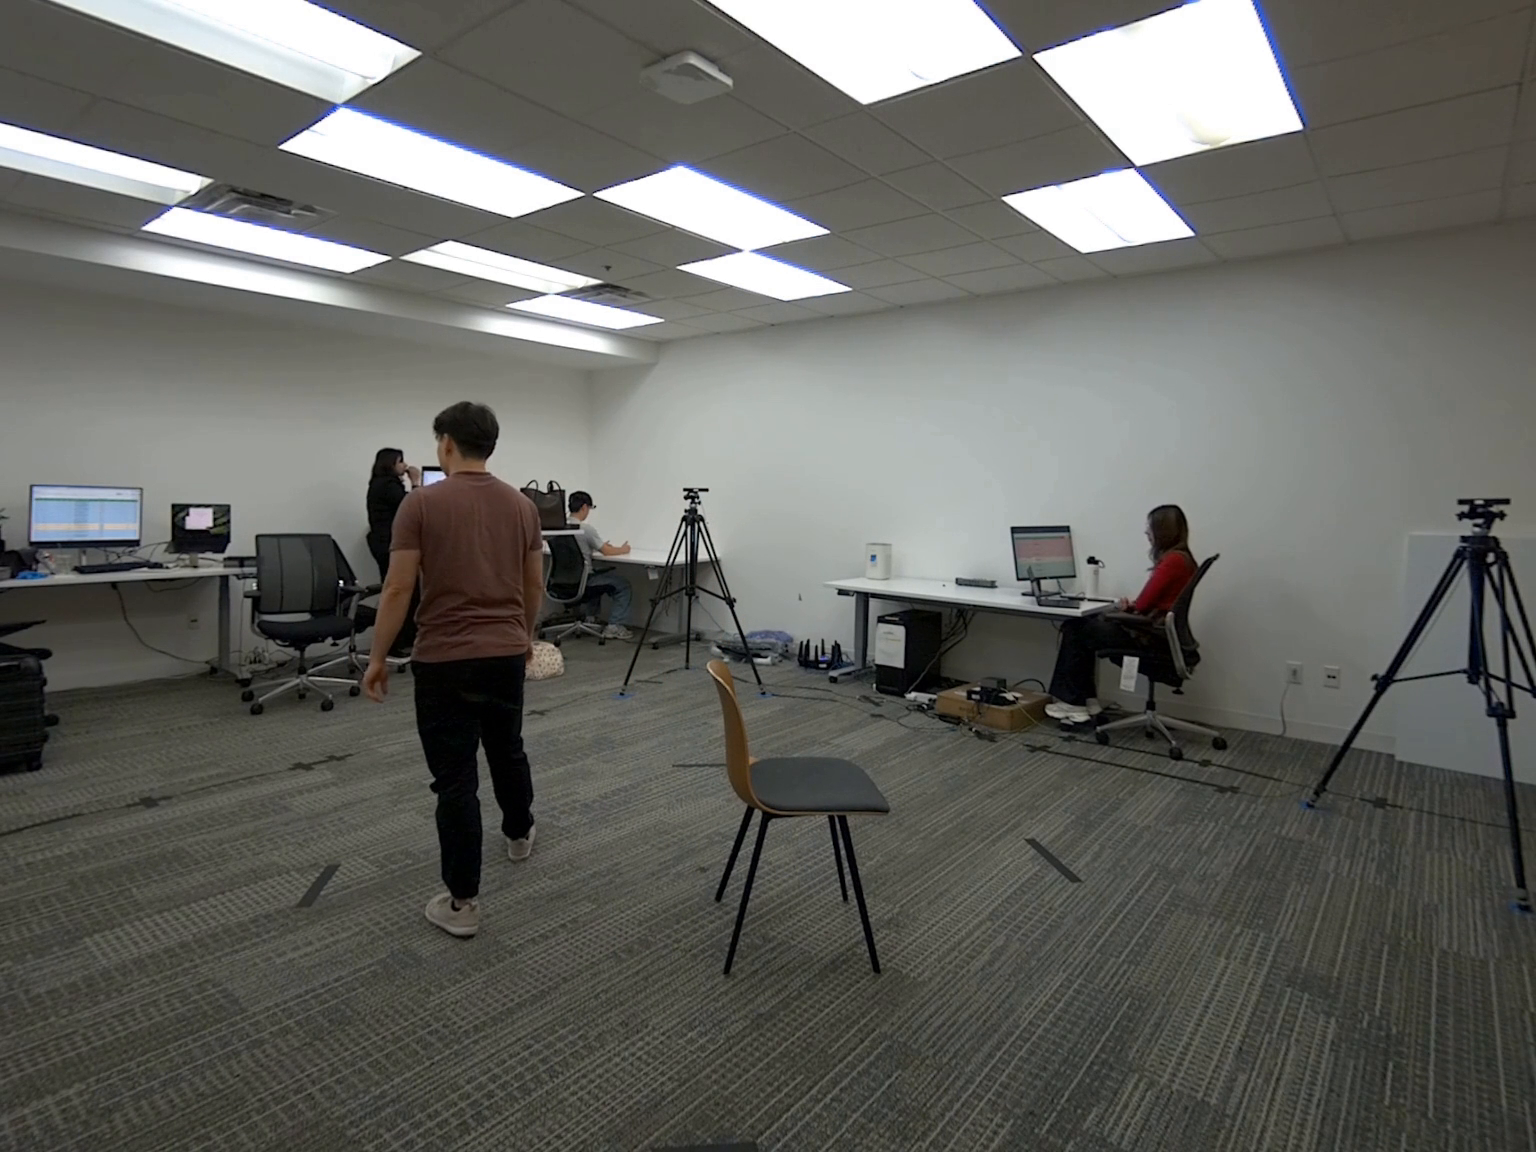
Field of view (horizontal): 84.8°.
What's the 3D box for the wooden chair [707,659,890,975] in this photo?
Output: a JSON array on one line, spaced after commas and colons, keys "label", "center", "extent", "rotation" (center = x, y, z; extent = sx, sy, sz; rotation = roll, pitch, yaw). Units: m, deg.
[{"label": "wooden chair", "center": [0.086, 0.697, 2.641], "extent": [0.521, 0.875, 0.481], "rotation": [-3, 3, -5]}]
